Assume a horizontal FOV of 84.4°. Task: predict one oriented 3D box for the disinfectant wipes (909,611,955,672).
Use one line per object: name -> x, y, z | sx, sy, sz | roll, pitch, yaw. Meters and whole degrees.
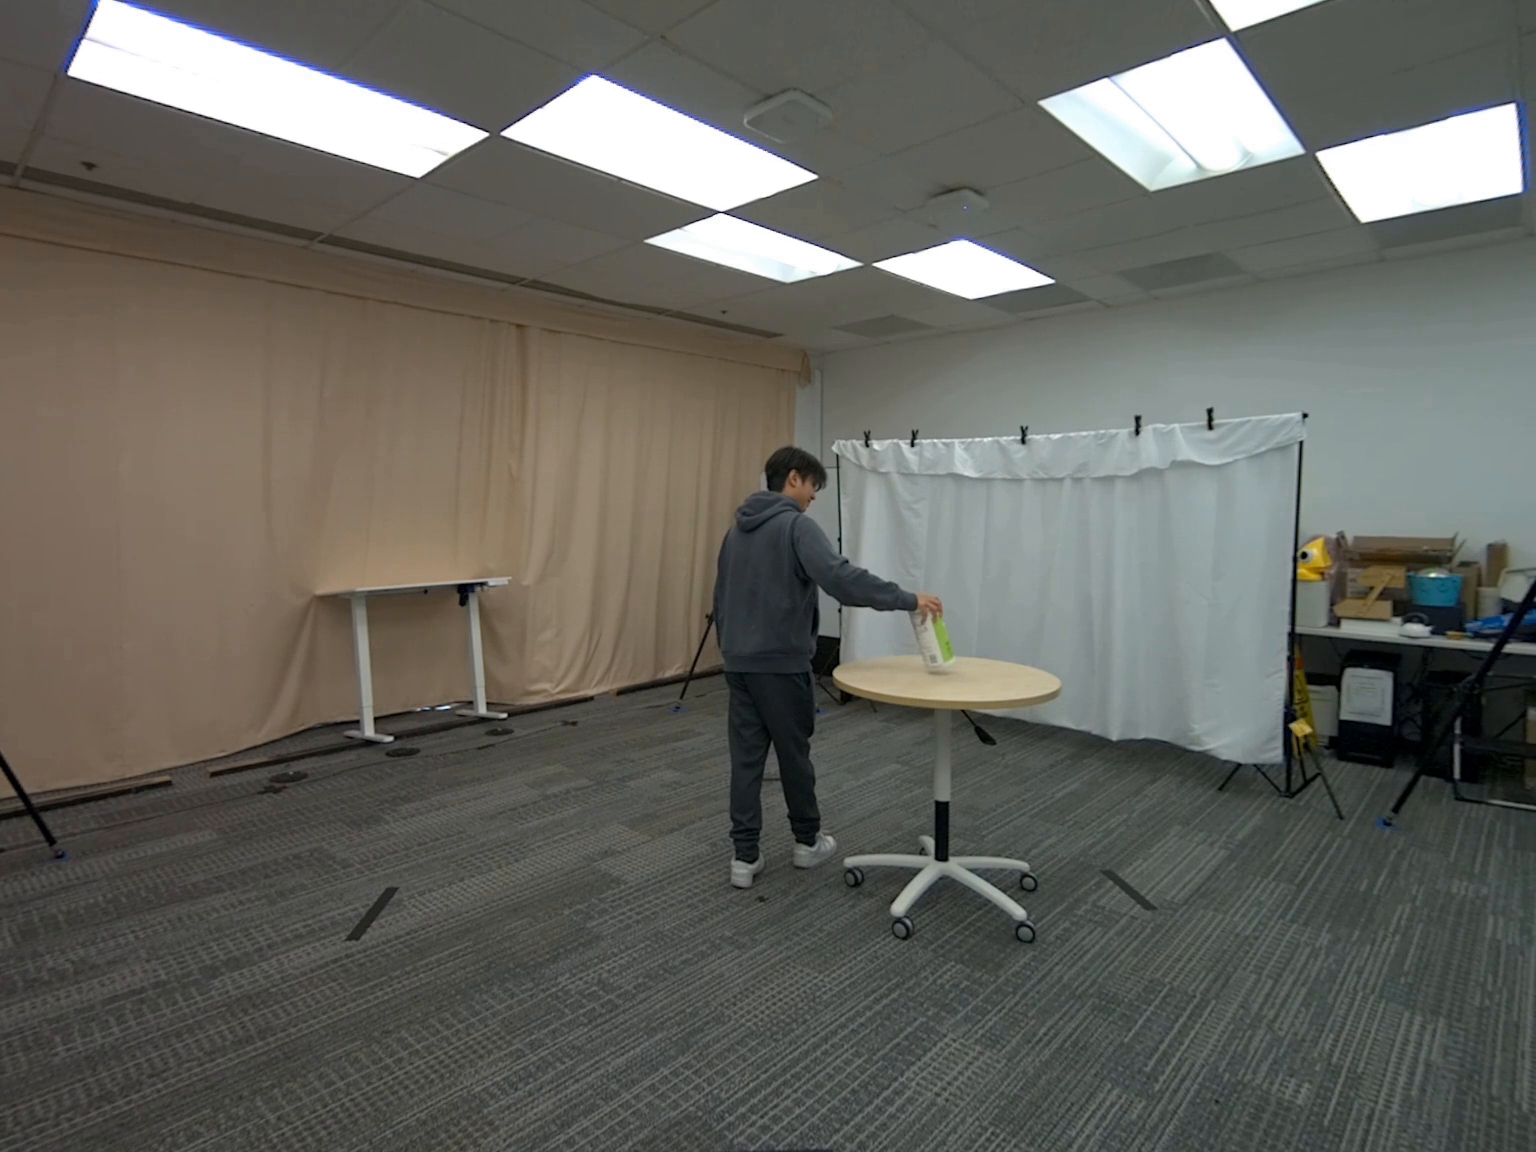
disinfectant wipes -> 0.585, 0.213, 2.959 | 0.118, 0.216, 0.118 | -17, 6, 0
